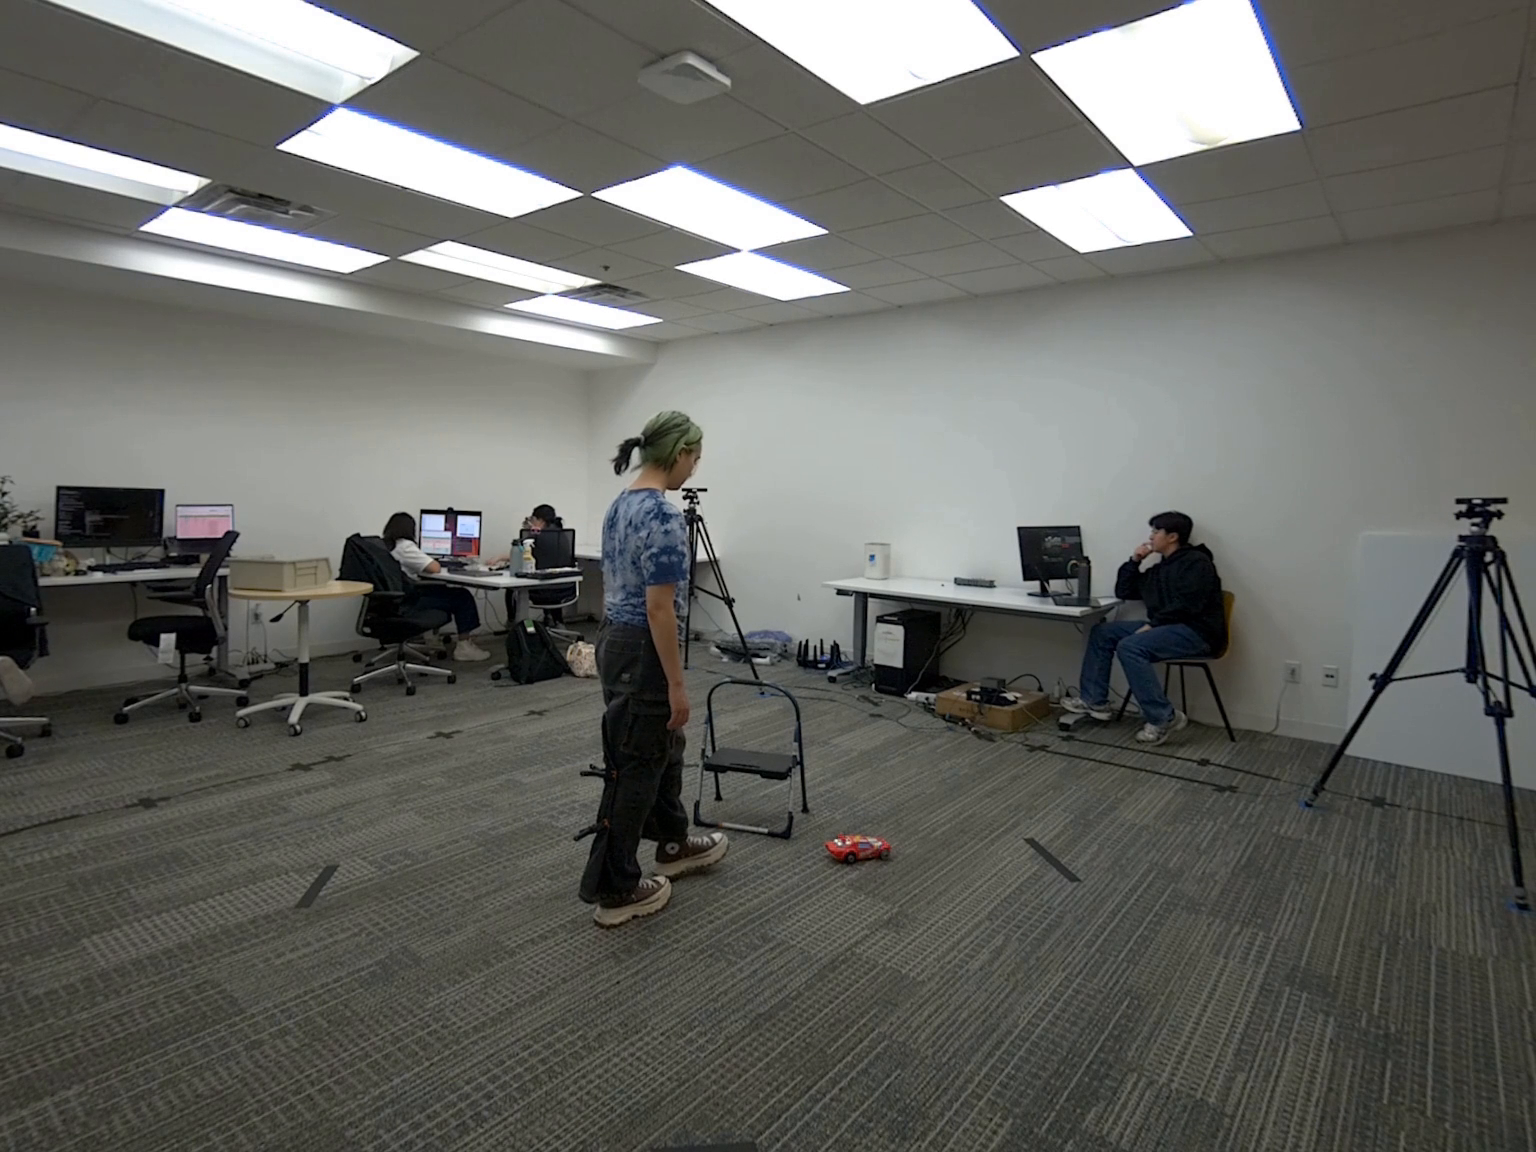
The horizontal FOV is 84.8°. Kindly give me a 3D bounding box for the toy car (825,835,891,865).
[{"bbox_3d":[0.333,1.037,3.239,0.249,0.083,0.133,10,2,-18],"label":"toy car"}]
